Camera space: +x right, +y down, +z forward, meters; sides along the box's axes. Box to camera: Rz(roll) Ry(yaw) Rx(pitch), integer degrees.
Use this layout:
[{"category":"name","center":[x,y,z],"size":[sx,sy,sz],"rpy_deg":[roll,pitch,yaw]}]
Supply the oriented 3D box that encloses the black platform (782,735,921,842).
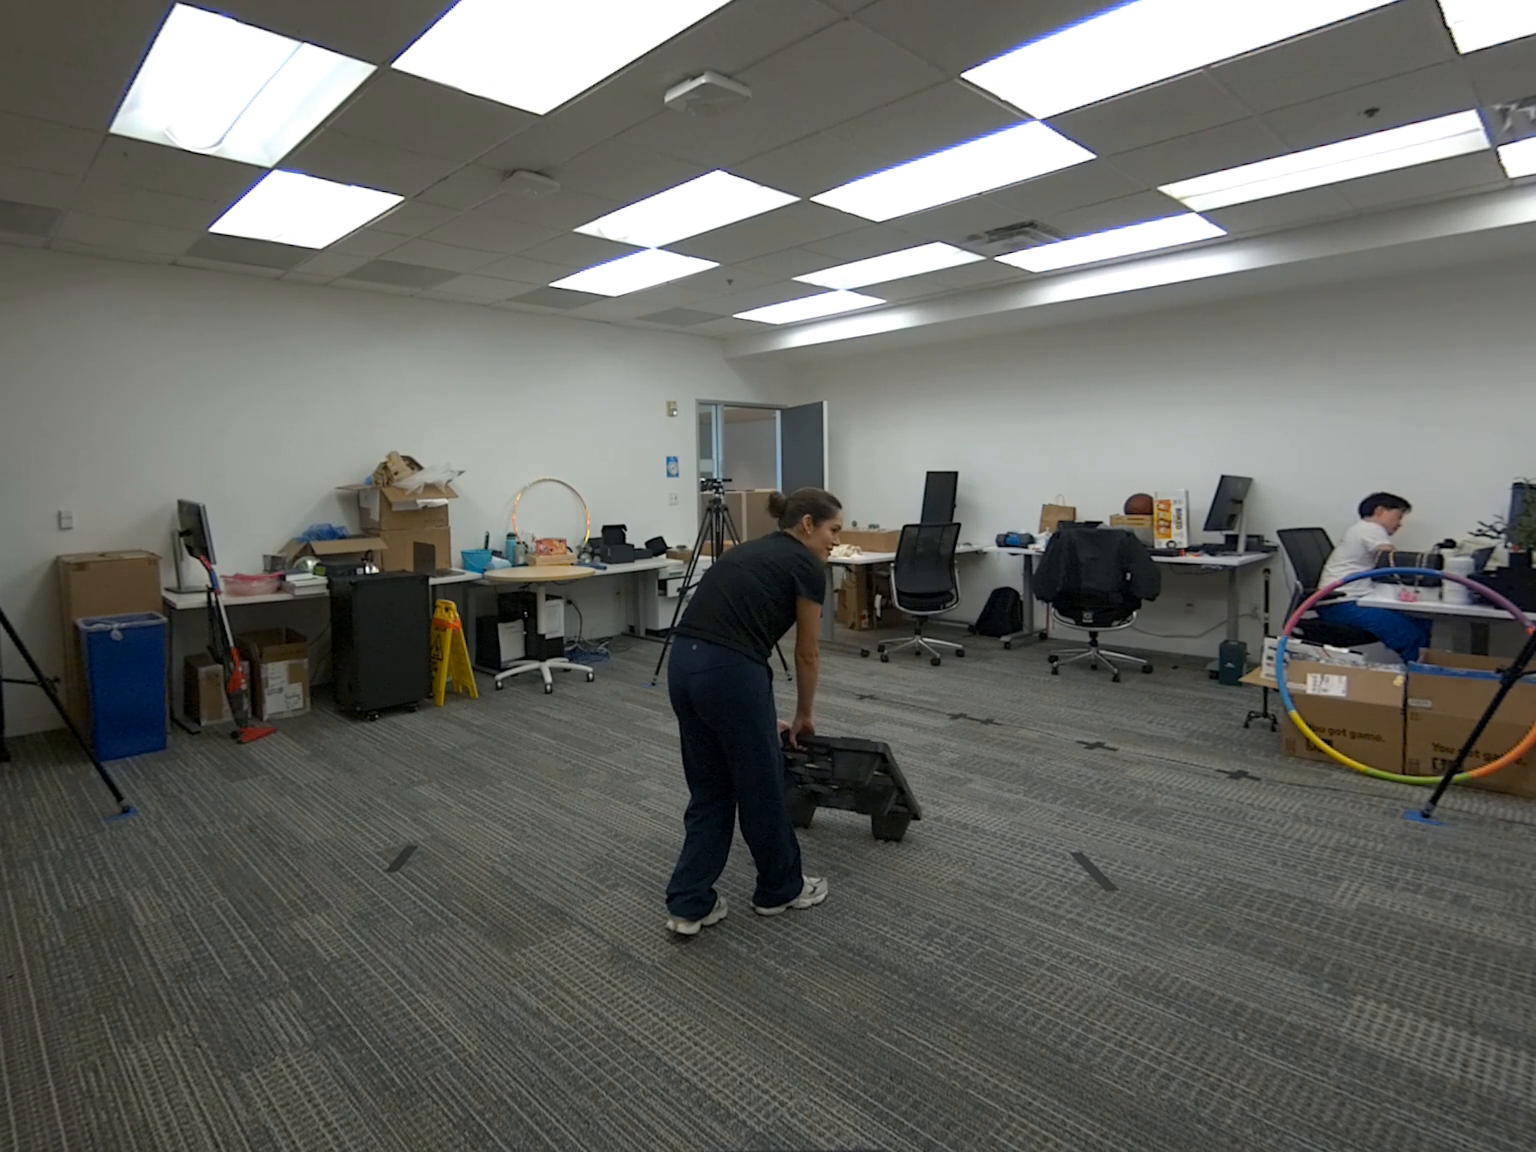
[{"category":"black platform","center":[0.190,0.769,3.120],"size":[0.617,0.146,0.776],"rpy_deg":[2,-31,21]}]
